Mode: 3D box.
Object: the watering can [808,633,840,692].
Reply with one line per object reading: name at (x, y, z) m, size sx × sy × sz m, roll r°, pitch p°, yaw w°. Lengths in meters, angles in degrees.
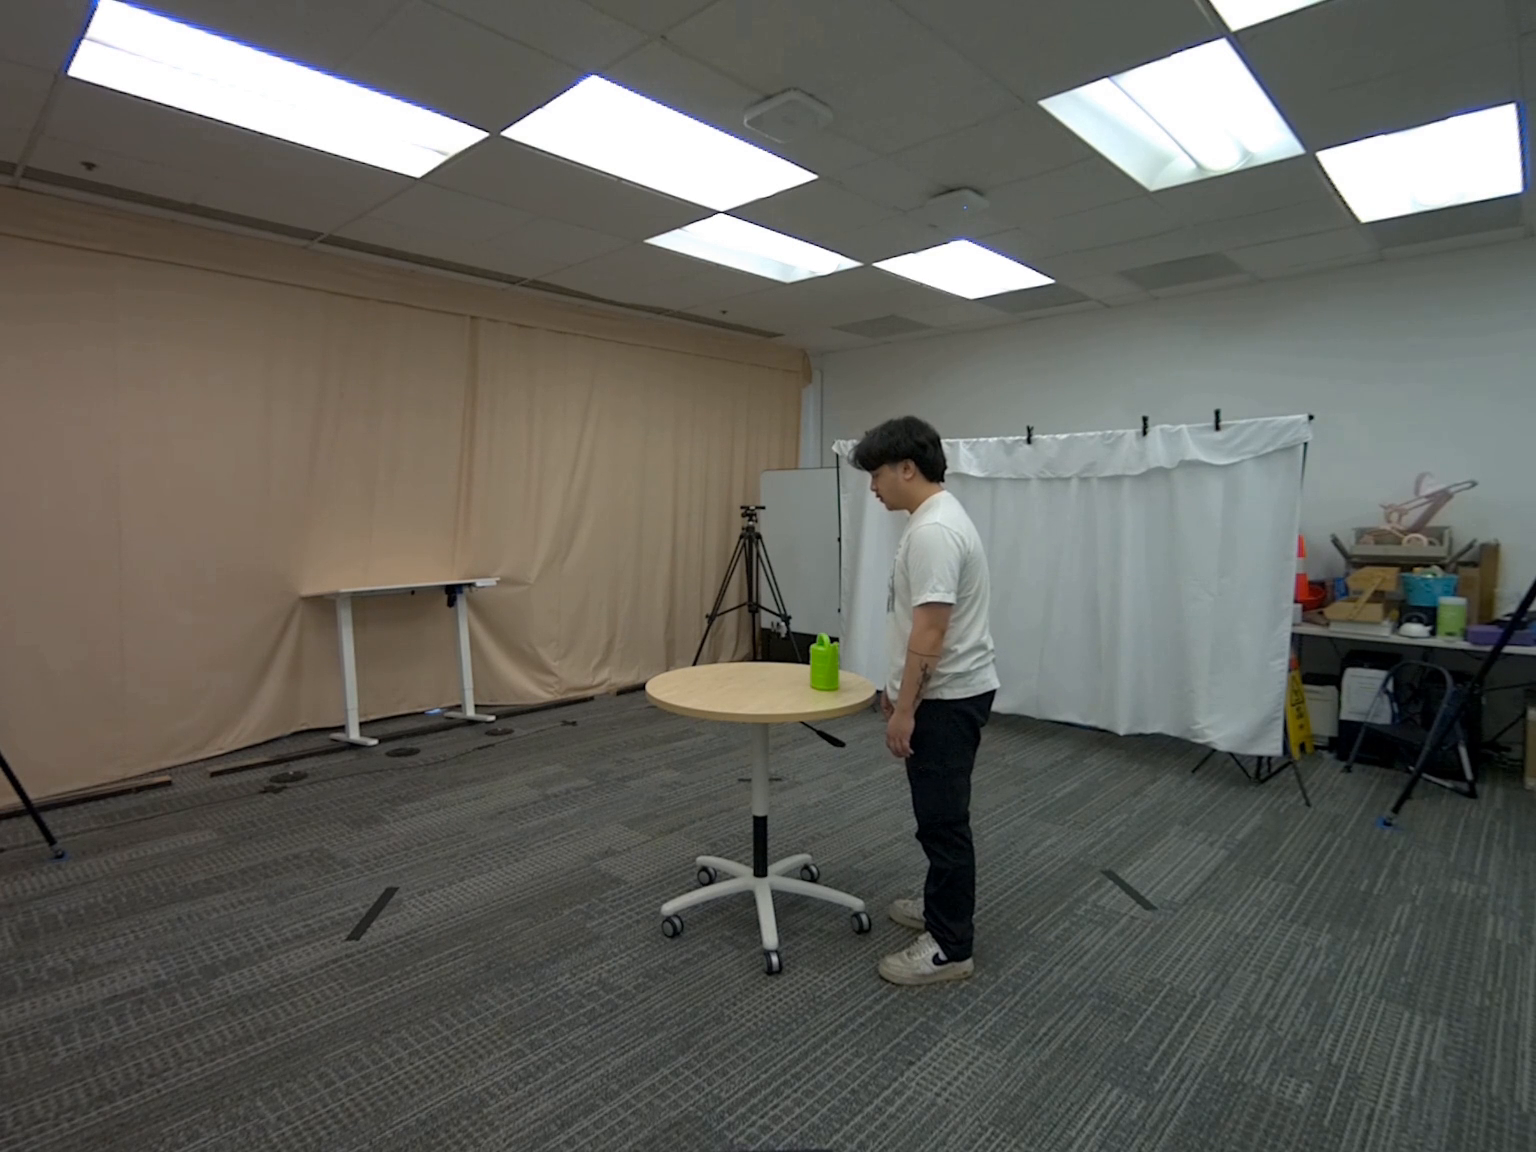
watering can at (0.199, 0.291, 2.733) m, size 0.098 × 0.176 × 0.277 m, roll 1°, pitch 3°, yaw 4°
